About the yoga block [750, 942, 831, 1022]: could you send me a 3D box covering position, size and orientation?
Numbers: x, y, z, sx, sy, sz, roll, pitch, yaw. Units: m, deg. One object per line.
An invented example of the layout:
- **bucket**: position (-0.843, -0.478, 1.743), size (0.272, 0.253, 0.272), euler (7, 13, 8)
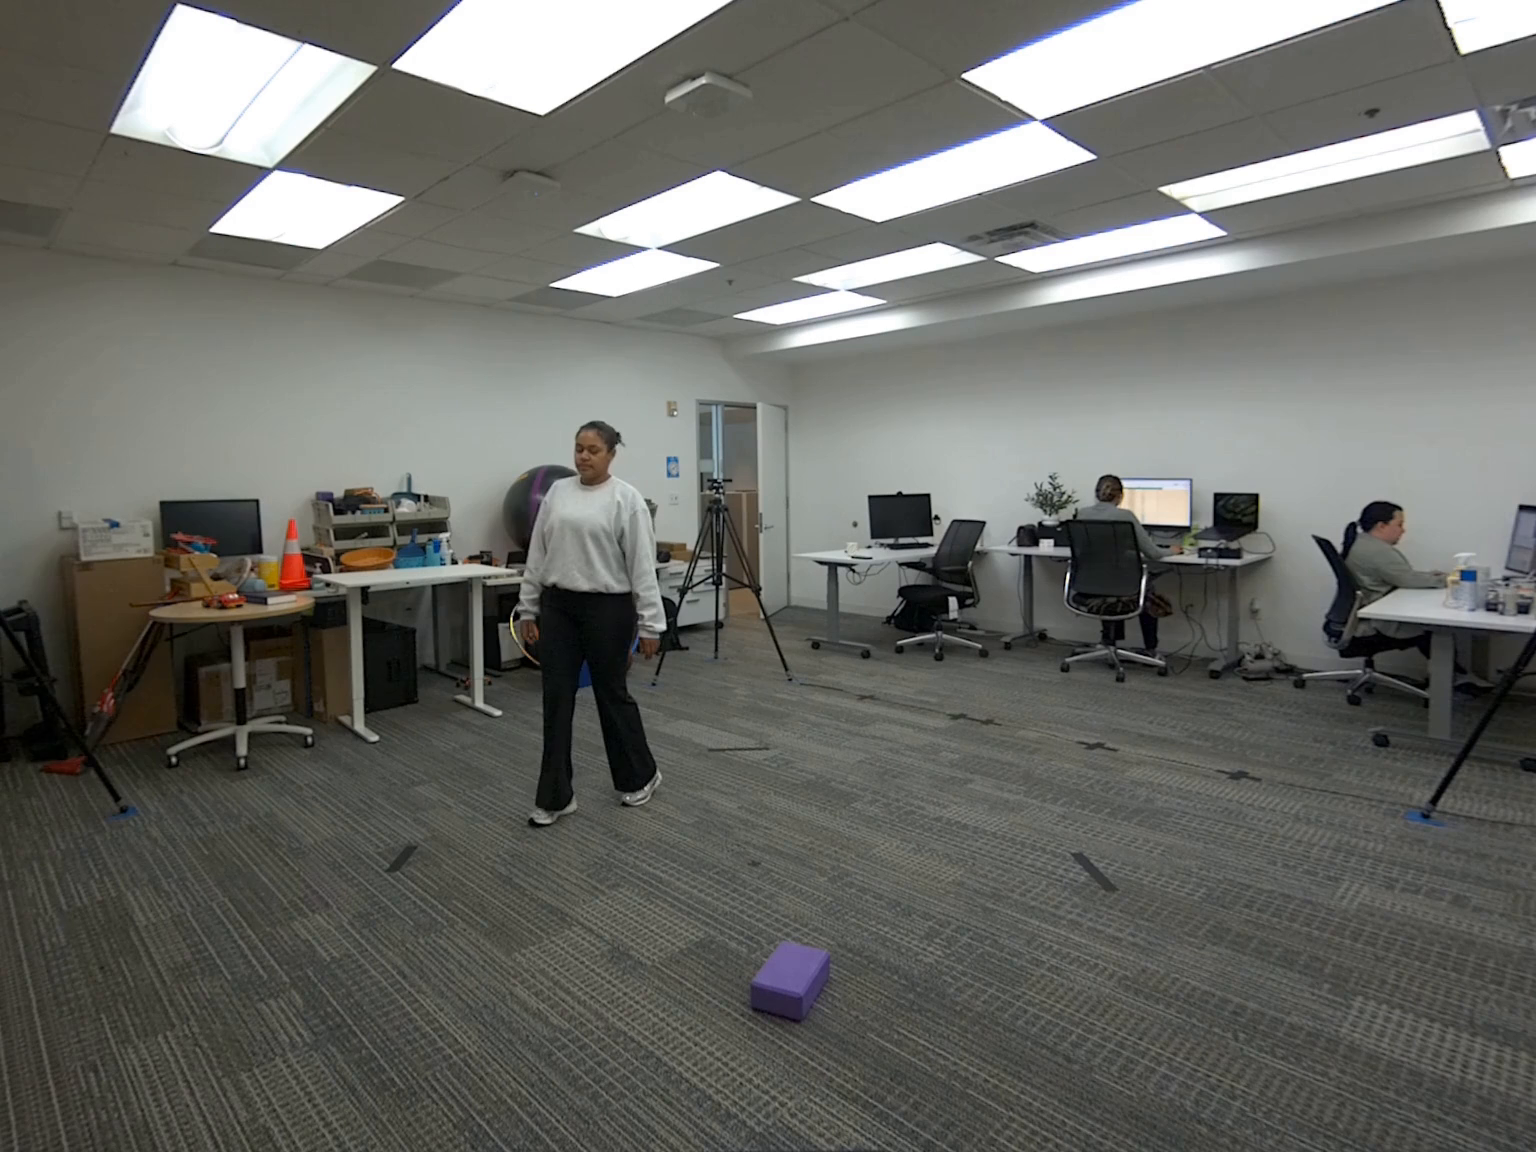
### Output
- **yoga block**: position (0.072, 1.098, 2.317), size (0.152, 0.076, 0.225), euler (1, 7, 24)
